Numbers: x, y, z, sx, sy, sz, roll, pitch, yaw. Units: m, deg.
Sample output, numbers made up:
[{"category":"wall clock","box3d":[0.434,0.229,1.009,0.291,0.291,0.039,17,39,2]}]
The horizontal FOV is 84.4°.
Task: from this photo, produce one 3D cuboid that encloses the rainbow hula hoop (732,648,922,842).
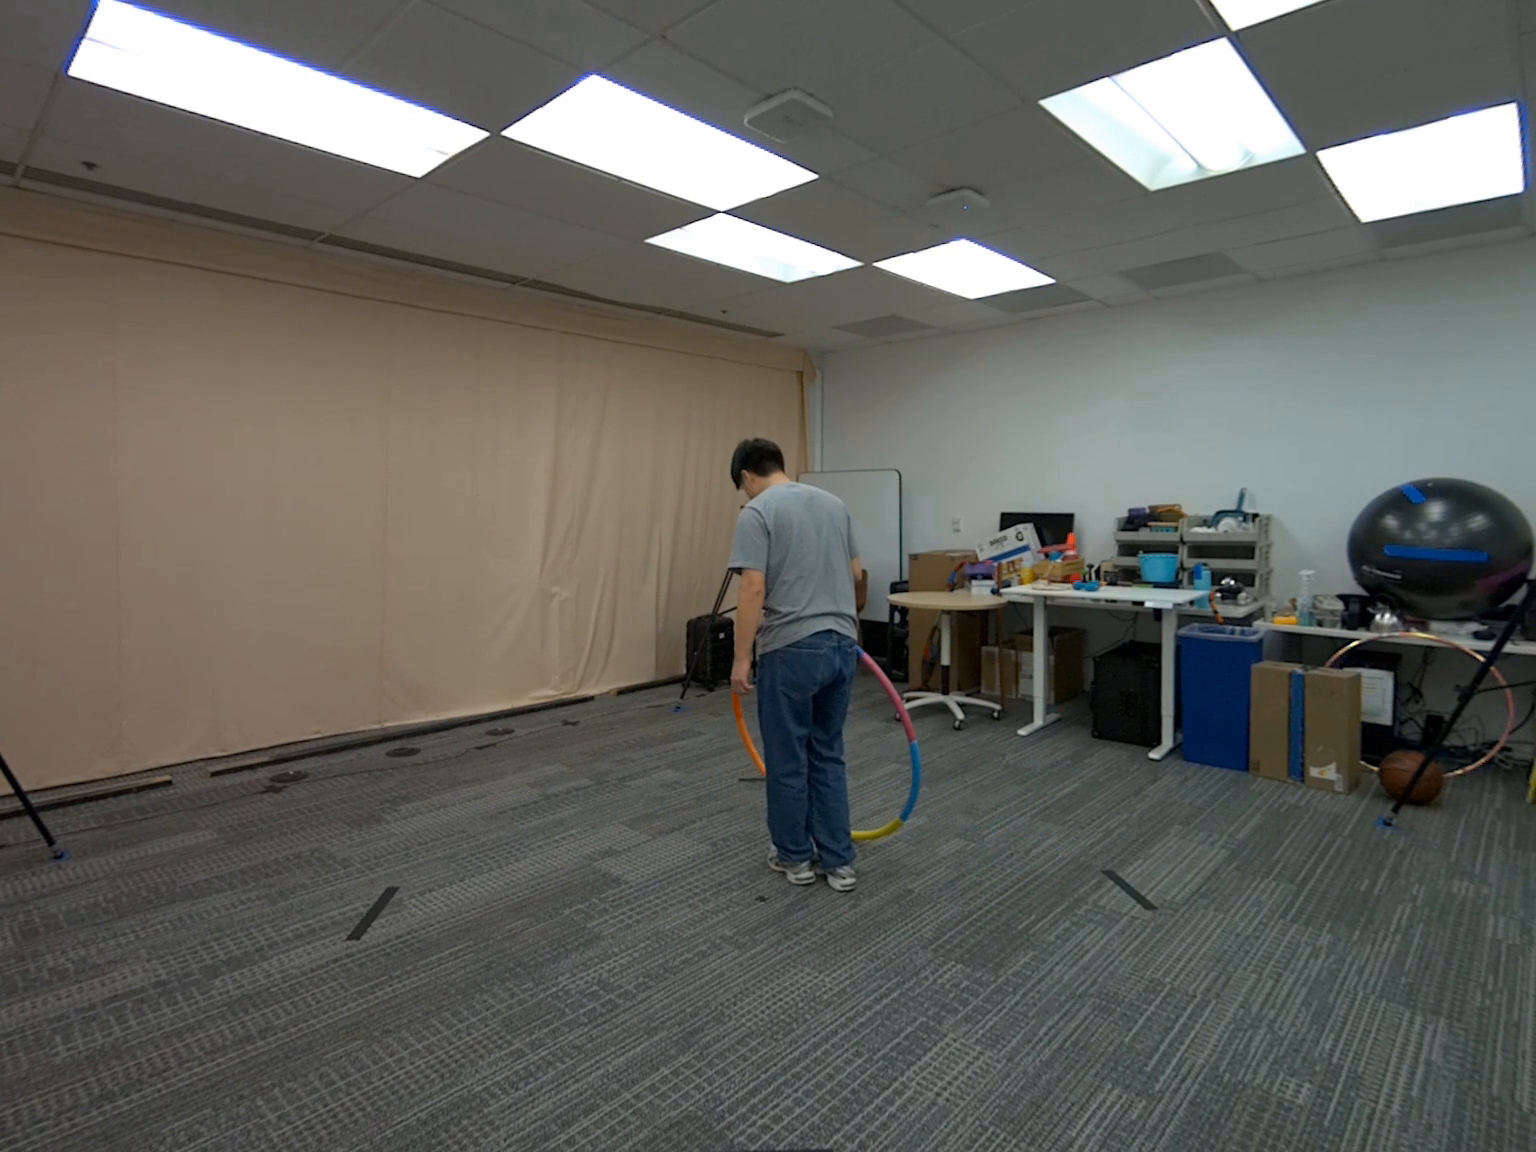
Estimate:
[{"category":"rainbow hula hoop","box3d":[0.209,0.627,3.464,1.011,0.968,0.035,4,19,45]}]
